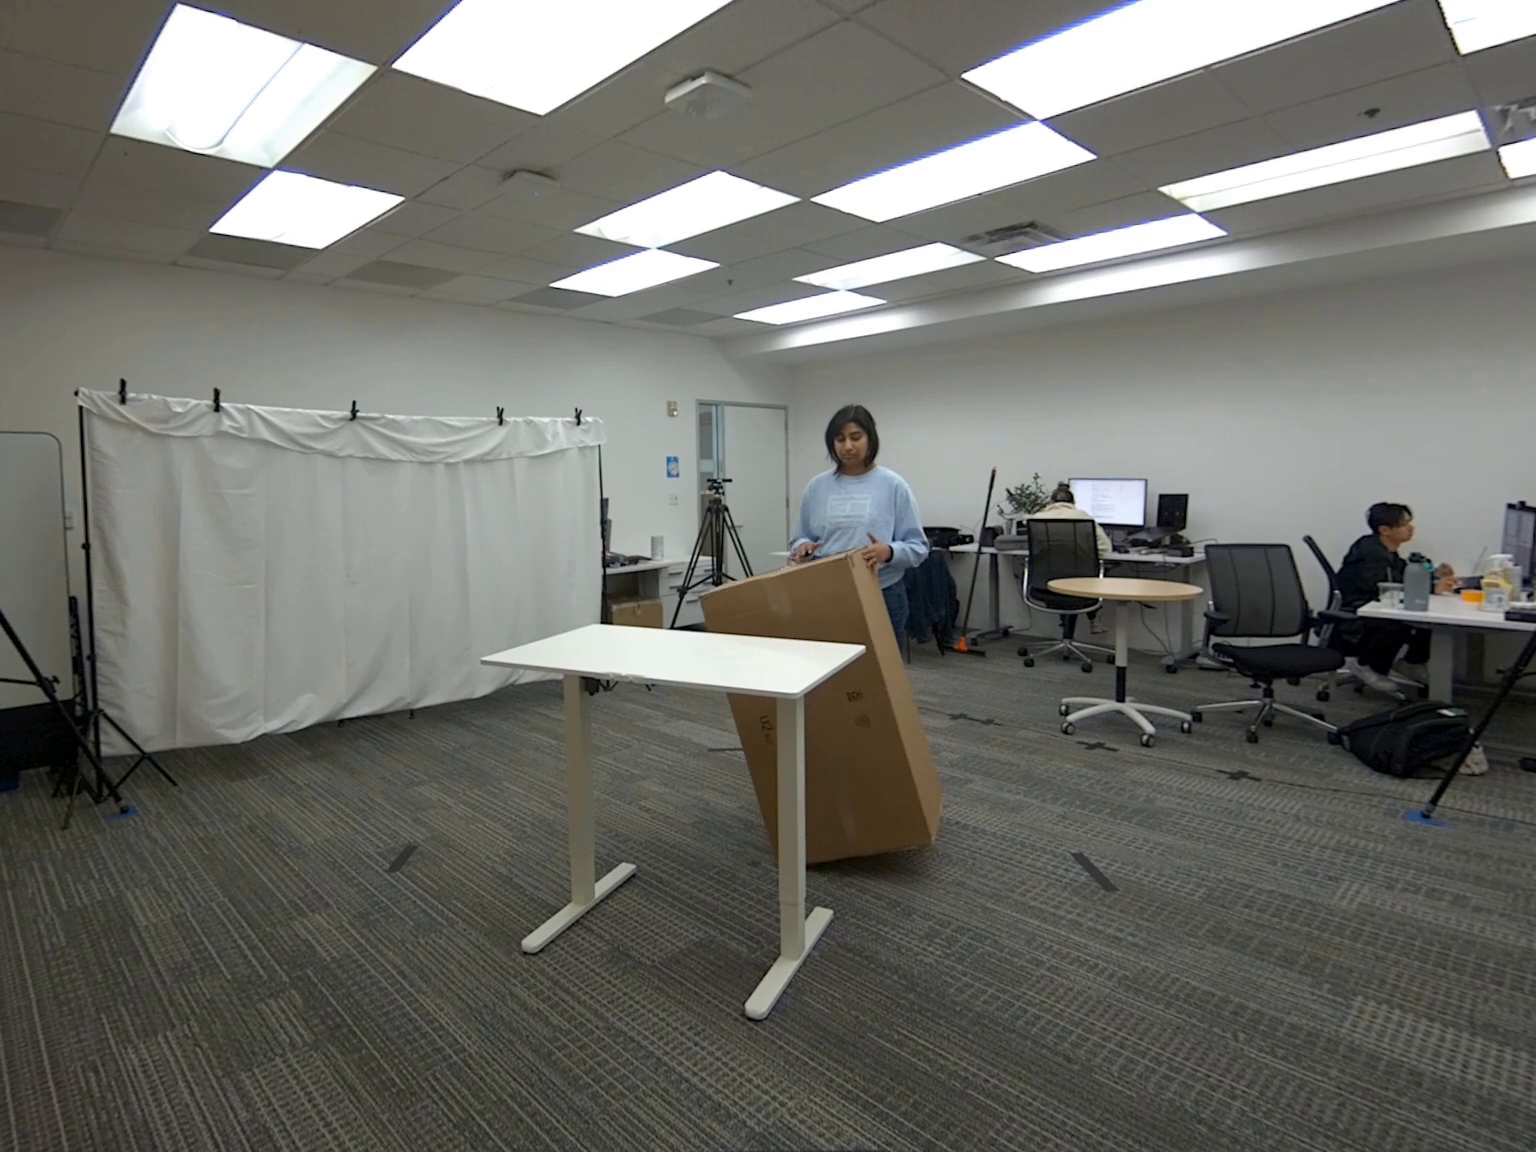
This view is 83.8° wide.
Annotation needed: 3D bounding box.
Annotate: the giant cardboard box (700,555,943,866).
[{"bbox_3d":[0.204,0.470,3.186,0.584,1.027,0.420,-16,-1,18],"label":"giant cardboard box"}]
